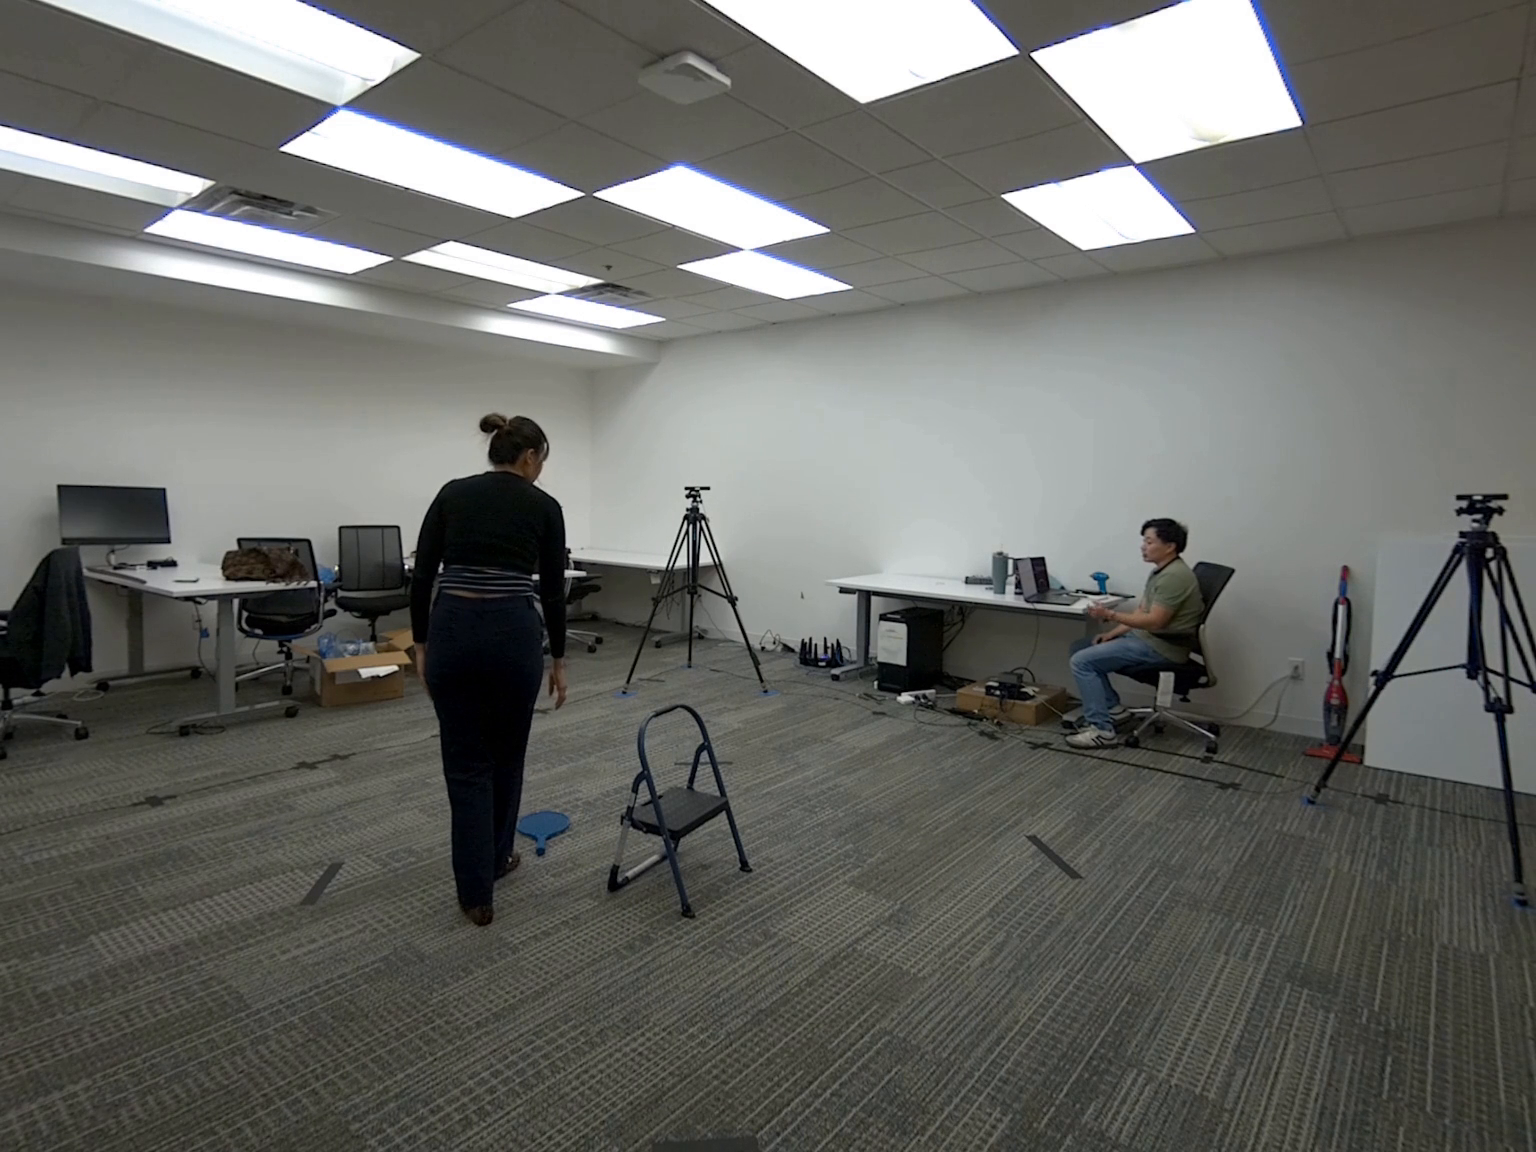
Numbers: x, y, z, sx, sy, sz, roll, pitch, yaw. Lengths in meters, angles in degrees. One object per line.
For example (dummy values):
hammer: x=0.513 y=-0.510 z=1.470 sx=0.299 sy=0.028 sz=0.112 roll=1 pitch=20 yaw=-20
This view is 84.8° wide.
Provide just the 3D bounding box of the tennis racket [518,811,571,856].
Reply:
tennis racket: x=-0.908 y=1.012 z=3.398 sx=0.211 sy=0.031 sz=0.440 roll=-1 pitch=5 yaw=-14
